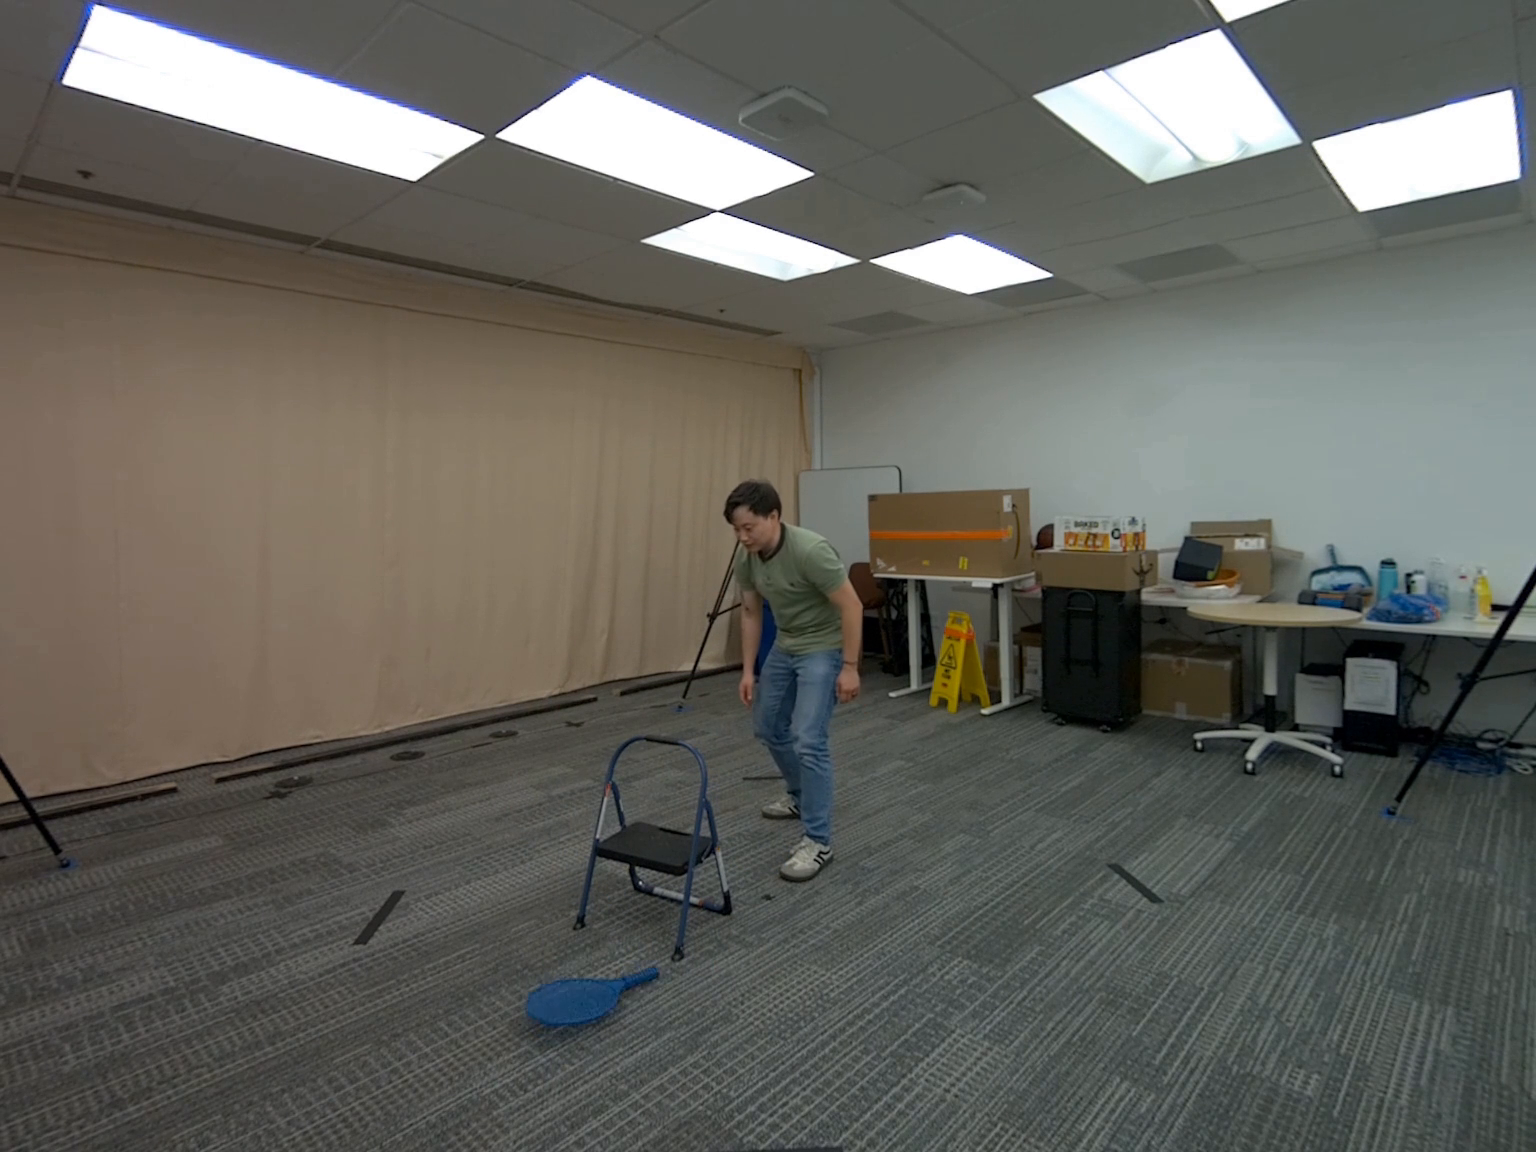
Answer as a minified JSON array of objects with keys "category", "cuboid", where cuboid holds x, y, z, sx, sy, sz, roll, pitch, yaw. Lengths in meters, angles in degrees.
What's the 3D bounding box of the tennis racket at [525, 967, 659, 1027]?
[{"category":"tennis racket","cuboid":[-0.478,1.157,2.357,0.221,0.032,0.419,7,6,44]}]
